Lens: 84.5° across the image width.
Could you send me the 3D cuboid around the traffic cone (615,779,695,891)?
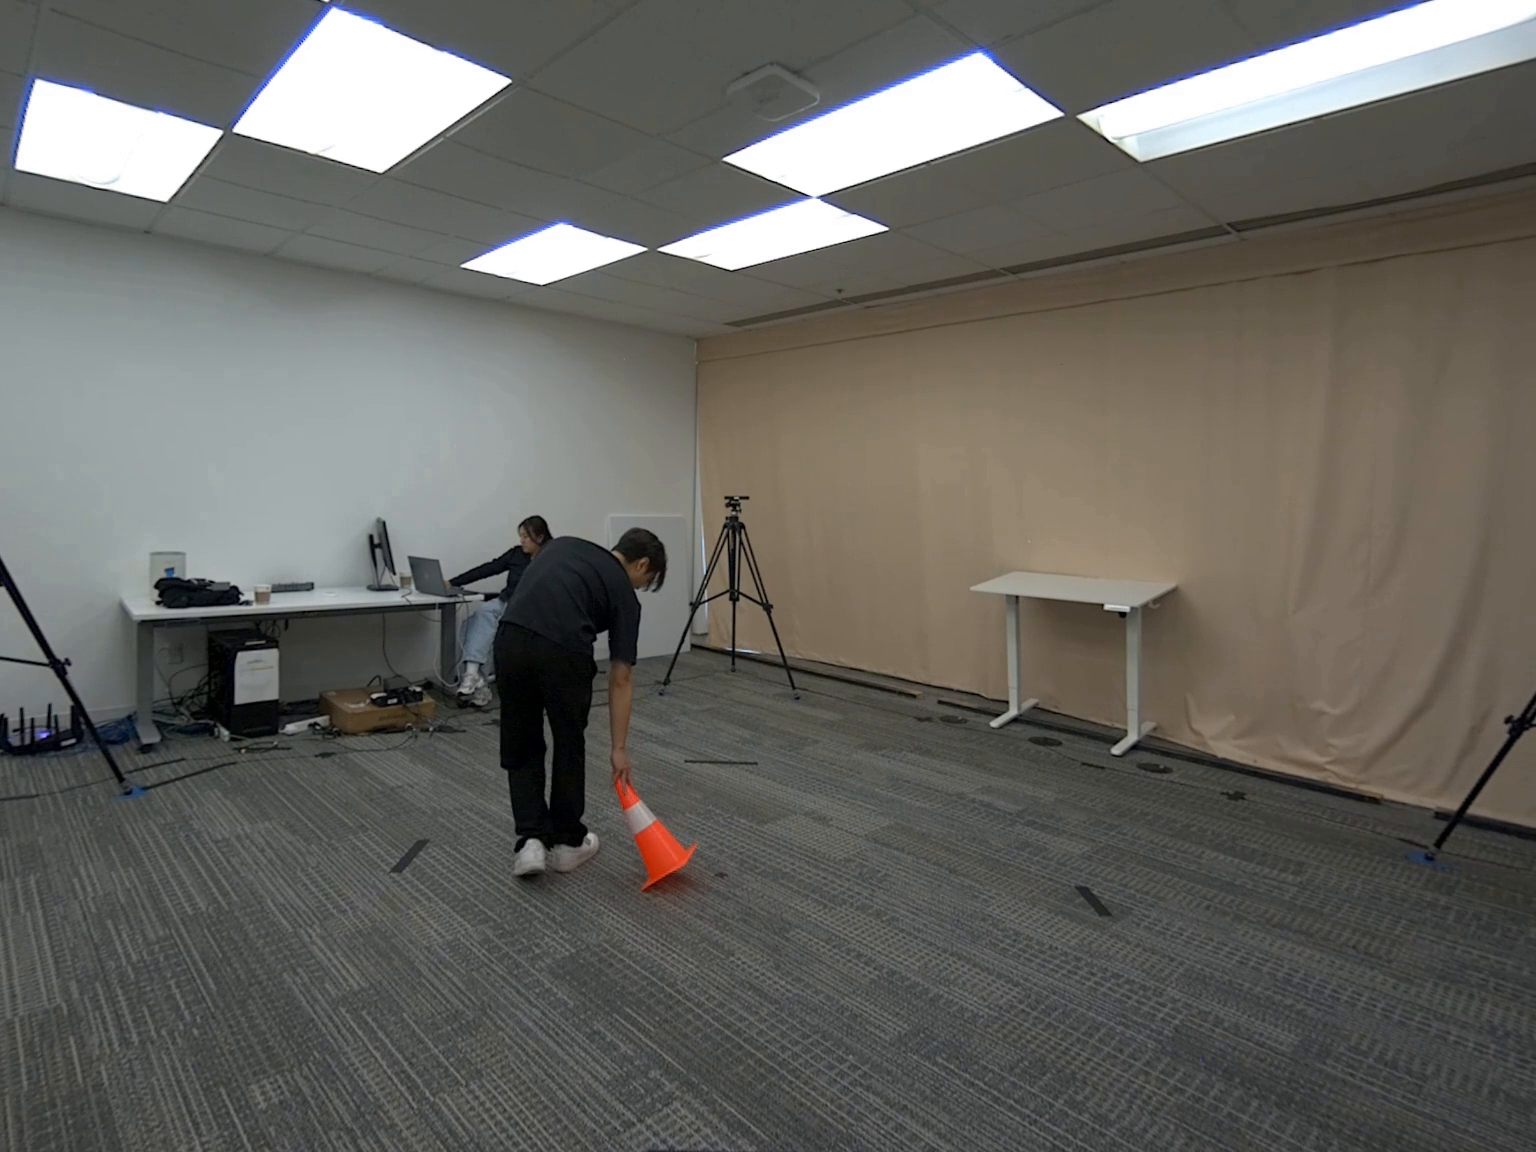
[{"bbox_3d":[-0.467,0.895,3.050,0.206,0.386,0.201,-33,-5,18],"label":"traffic cone"}]
